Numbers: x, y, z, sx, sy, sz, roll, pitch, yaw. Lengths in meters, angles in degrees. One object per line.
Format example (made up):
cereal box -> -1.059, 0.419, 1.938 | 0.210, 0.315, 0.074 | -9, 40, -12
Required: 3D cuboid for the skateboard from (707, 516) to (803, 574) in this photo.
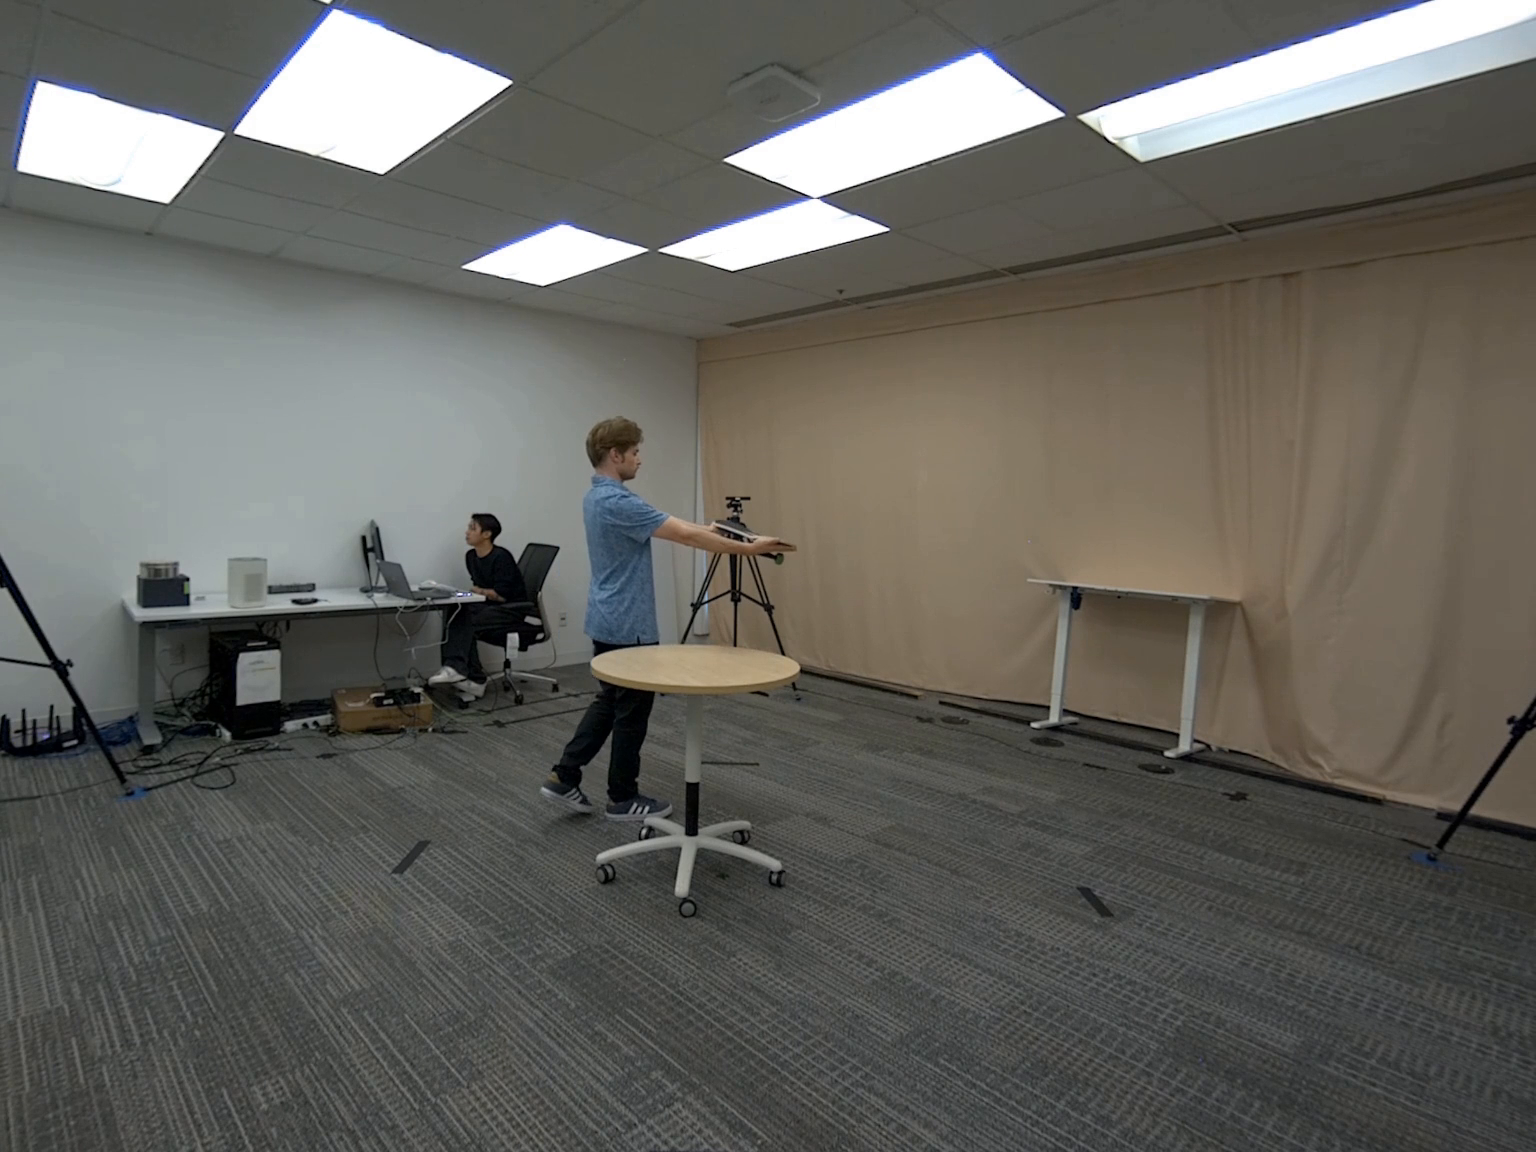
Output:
skateboard -> -0.089, -0.150, 3.716 | 0.190, 0.110, 0.800 | 15, 4, -19
